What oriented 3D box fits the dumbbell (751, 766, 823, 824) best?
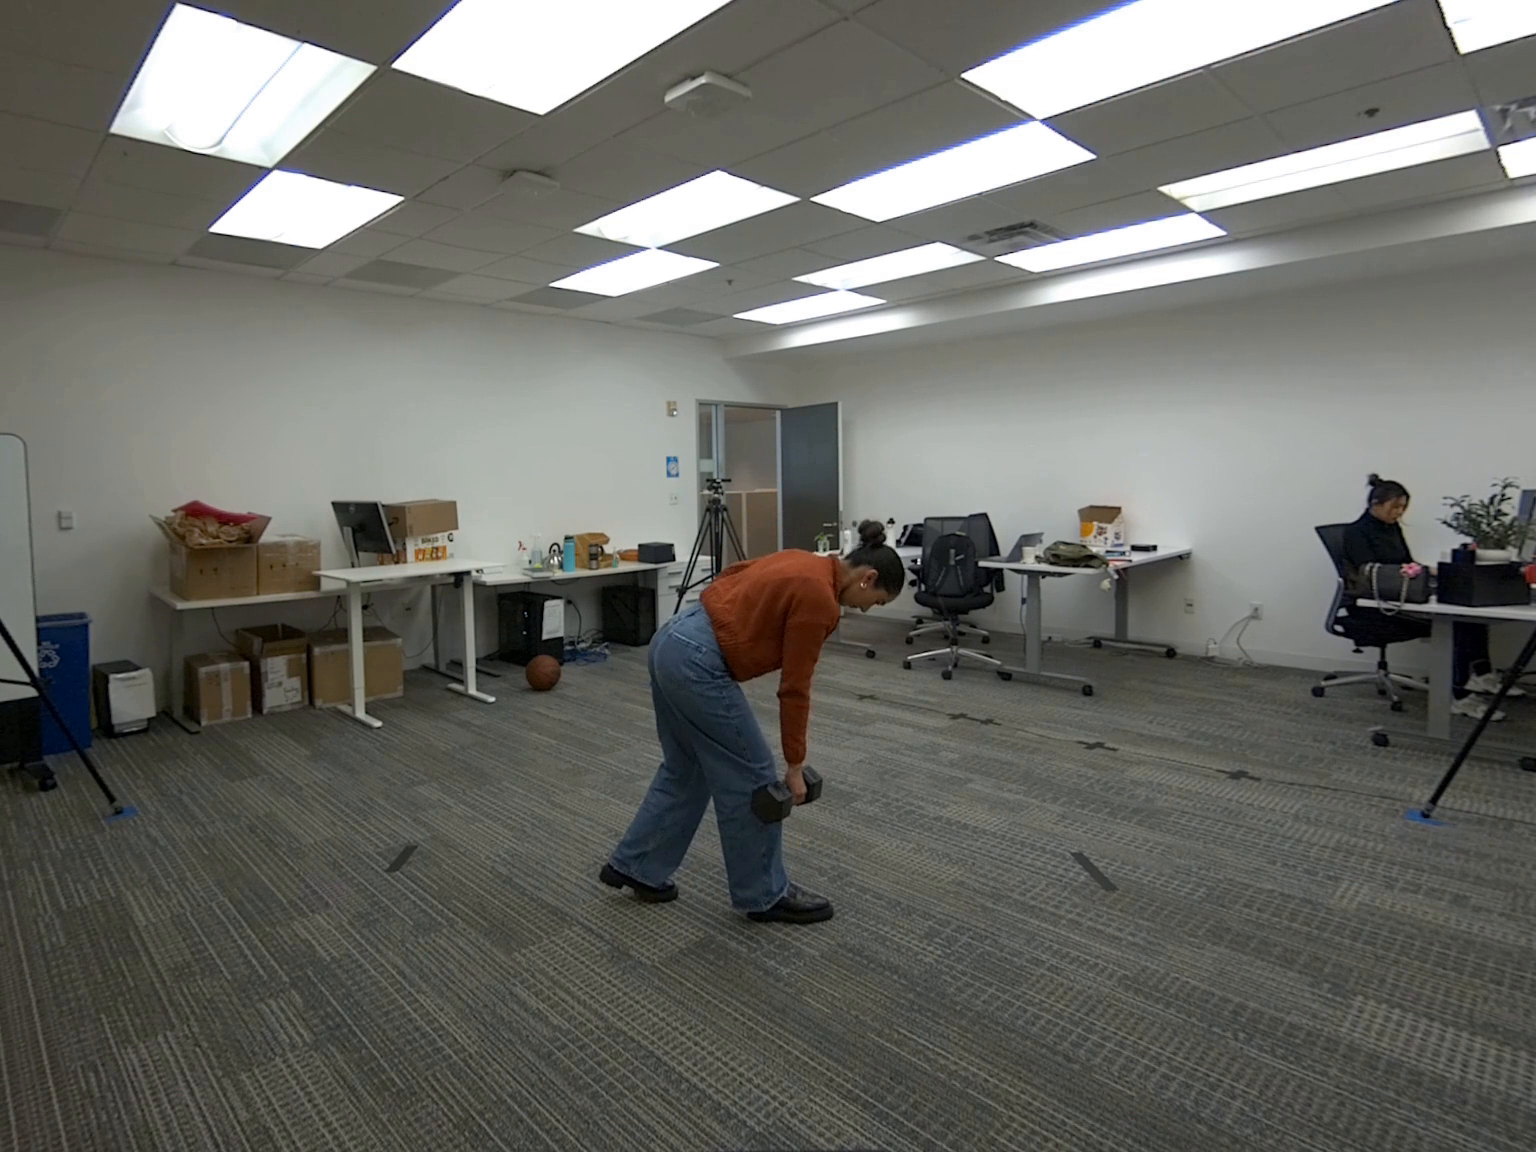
[{"bbox_3d":[0.064,0.675,2.643,0.112,0.122,0.286,8,6,30],"label":"dumbbell"}]
